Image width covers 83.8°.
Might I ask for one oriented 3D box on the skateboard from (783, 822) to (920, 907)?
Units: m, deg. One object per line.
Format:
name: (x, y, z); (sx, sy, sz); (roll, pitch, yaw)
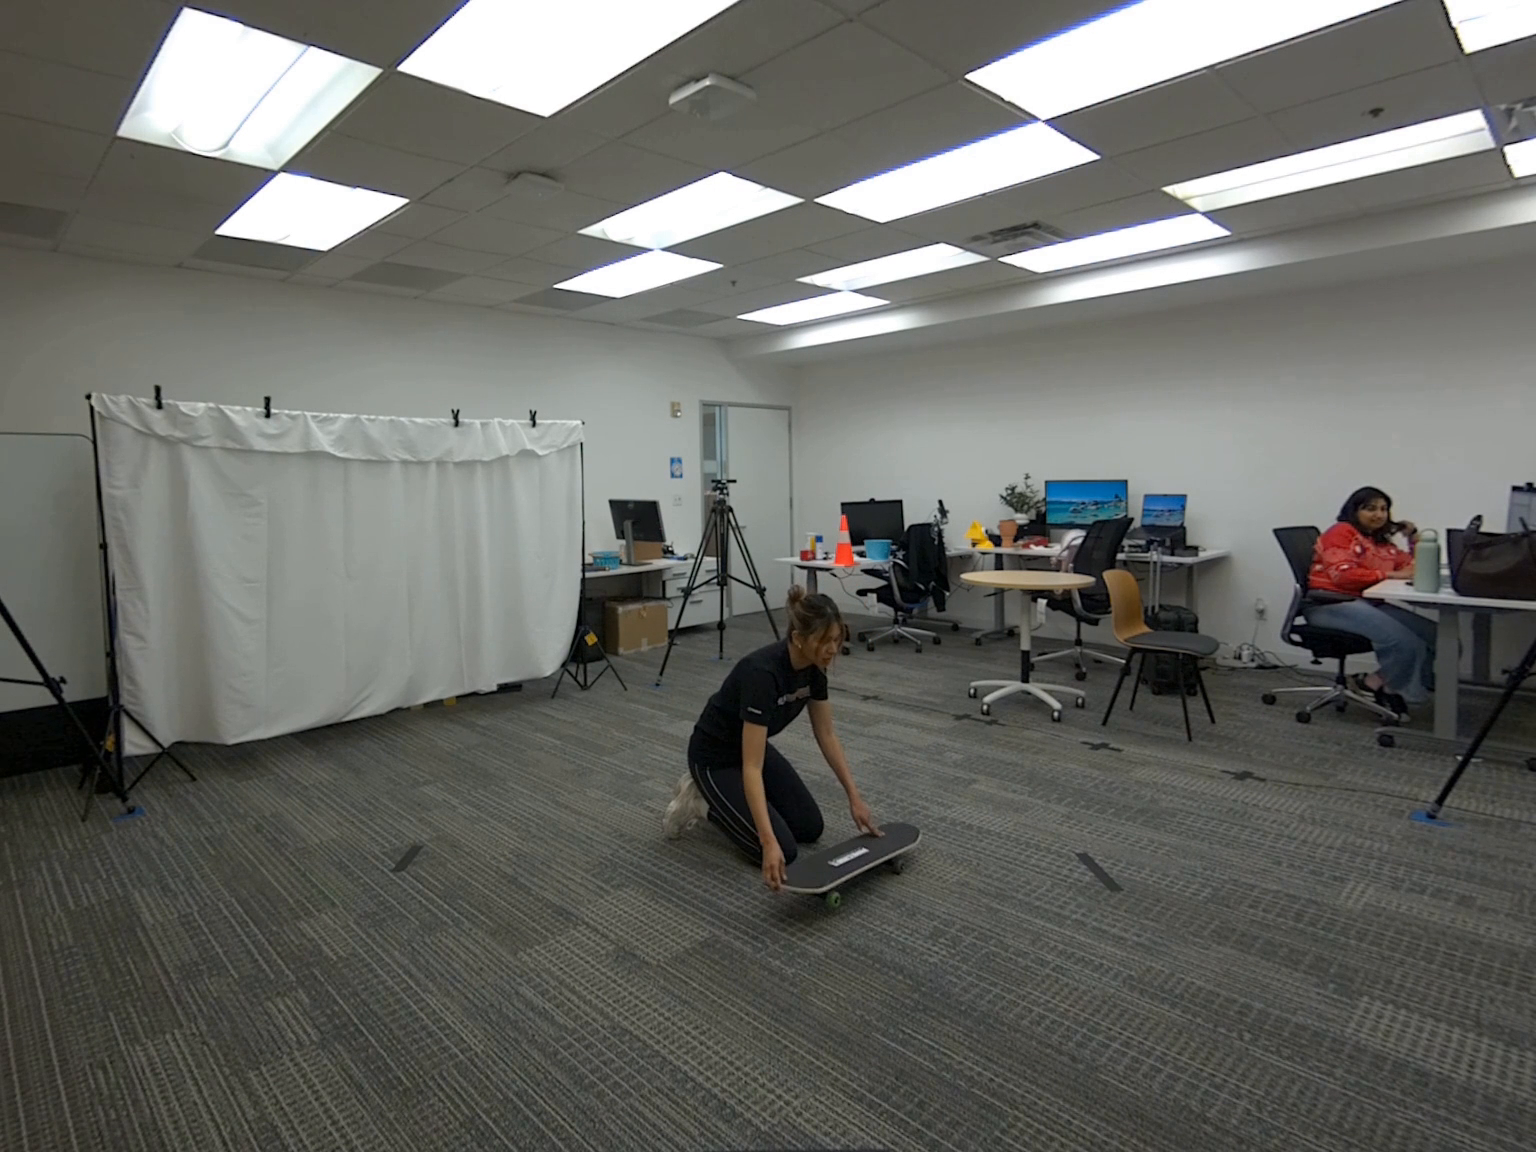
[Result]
skateboard: (0.279, 0.984, 2.932); (0.199, 0.110, 0.763); (2, 3, 39)
